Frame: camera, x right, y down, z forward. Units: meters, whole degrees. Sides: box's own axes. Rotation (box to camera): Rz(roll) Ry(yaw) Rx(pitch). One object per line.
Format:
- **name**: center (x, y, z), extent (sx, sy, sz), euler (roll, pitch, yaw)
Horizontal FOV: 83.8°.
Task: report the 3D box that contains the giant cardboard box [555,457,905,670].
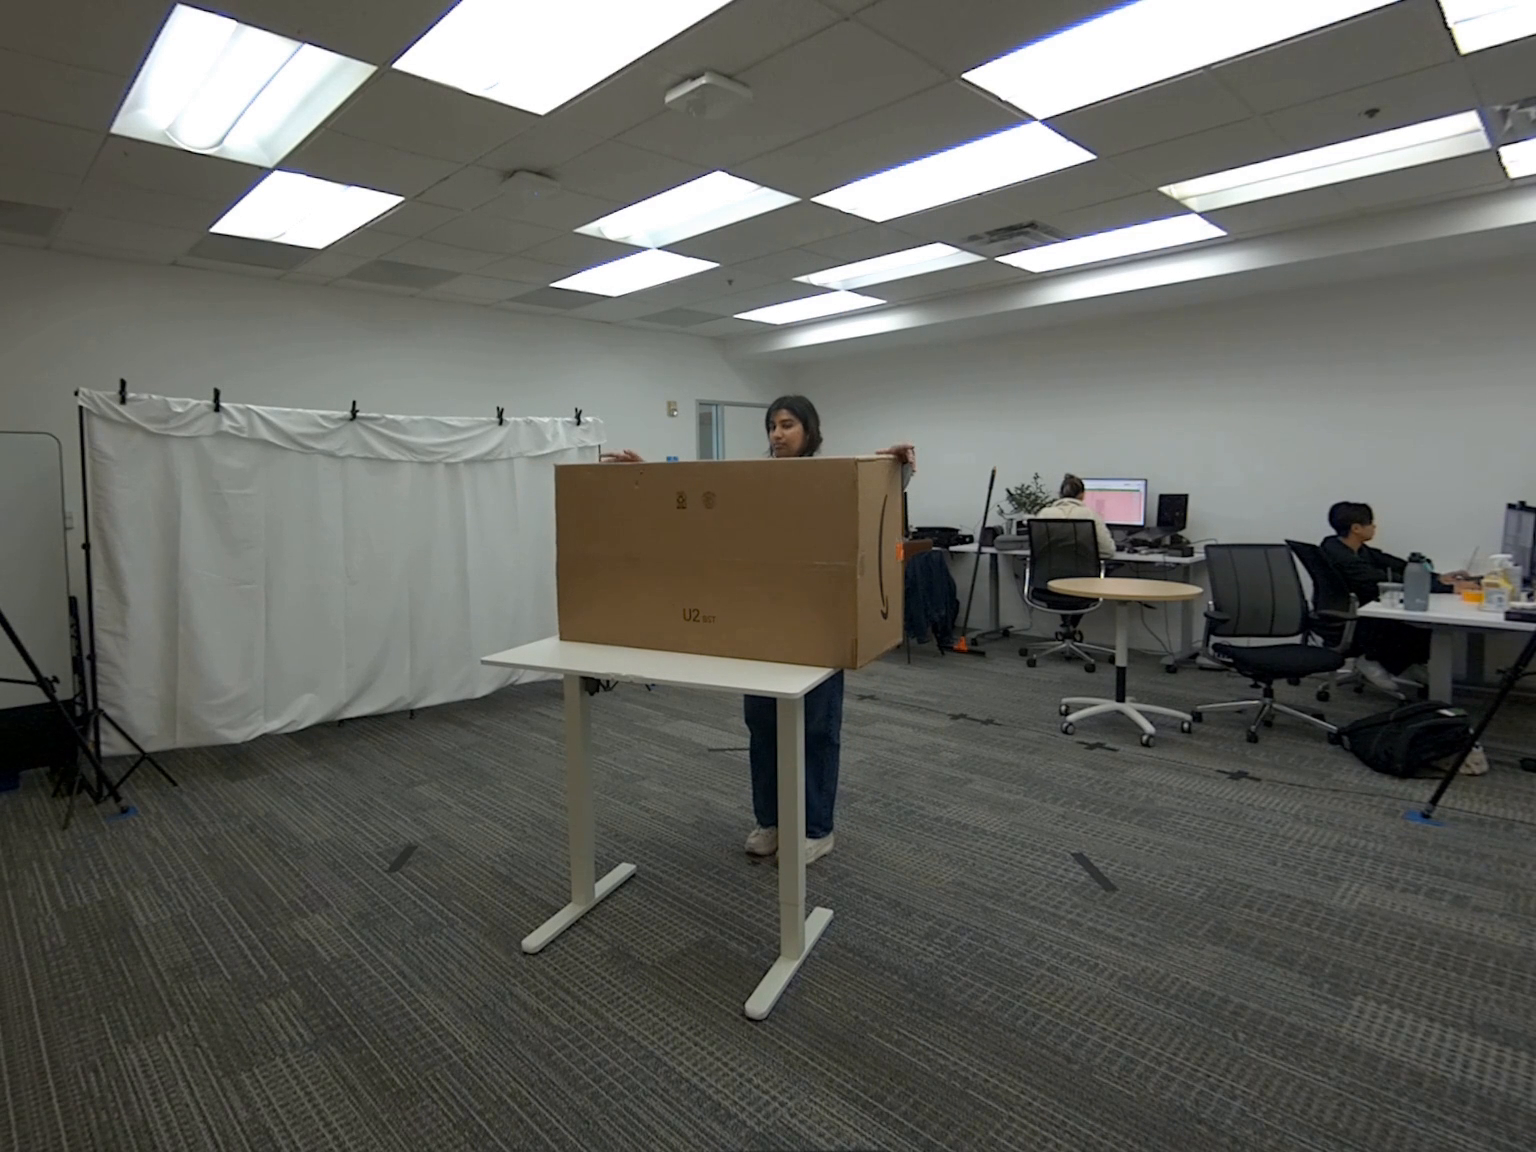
- **giant cardboard box**: center (-0.135, -0.073, 2.693), extent (1.051, 0.575, 0.418), euler (2, 6, 27)
